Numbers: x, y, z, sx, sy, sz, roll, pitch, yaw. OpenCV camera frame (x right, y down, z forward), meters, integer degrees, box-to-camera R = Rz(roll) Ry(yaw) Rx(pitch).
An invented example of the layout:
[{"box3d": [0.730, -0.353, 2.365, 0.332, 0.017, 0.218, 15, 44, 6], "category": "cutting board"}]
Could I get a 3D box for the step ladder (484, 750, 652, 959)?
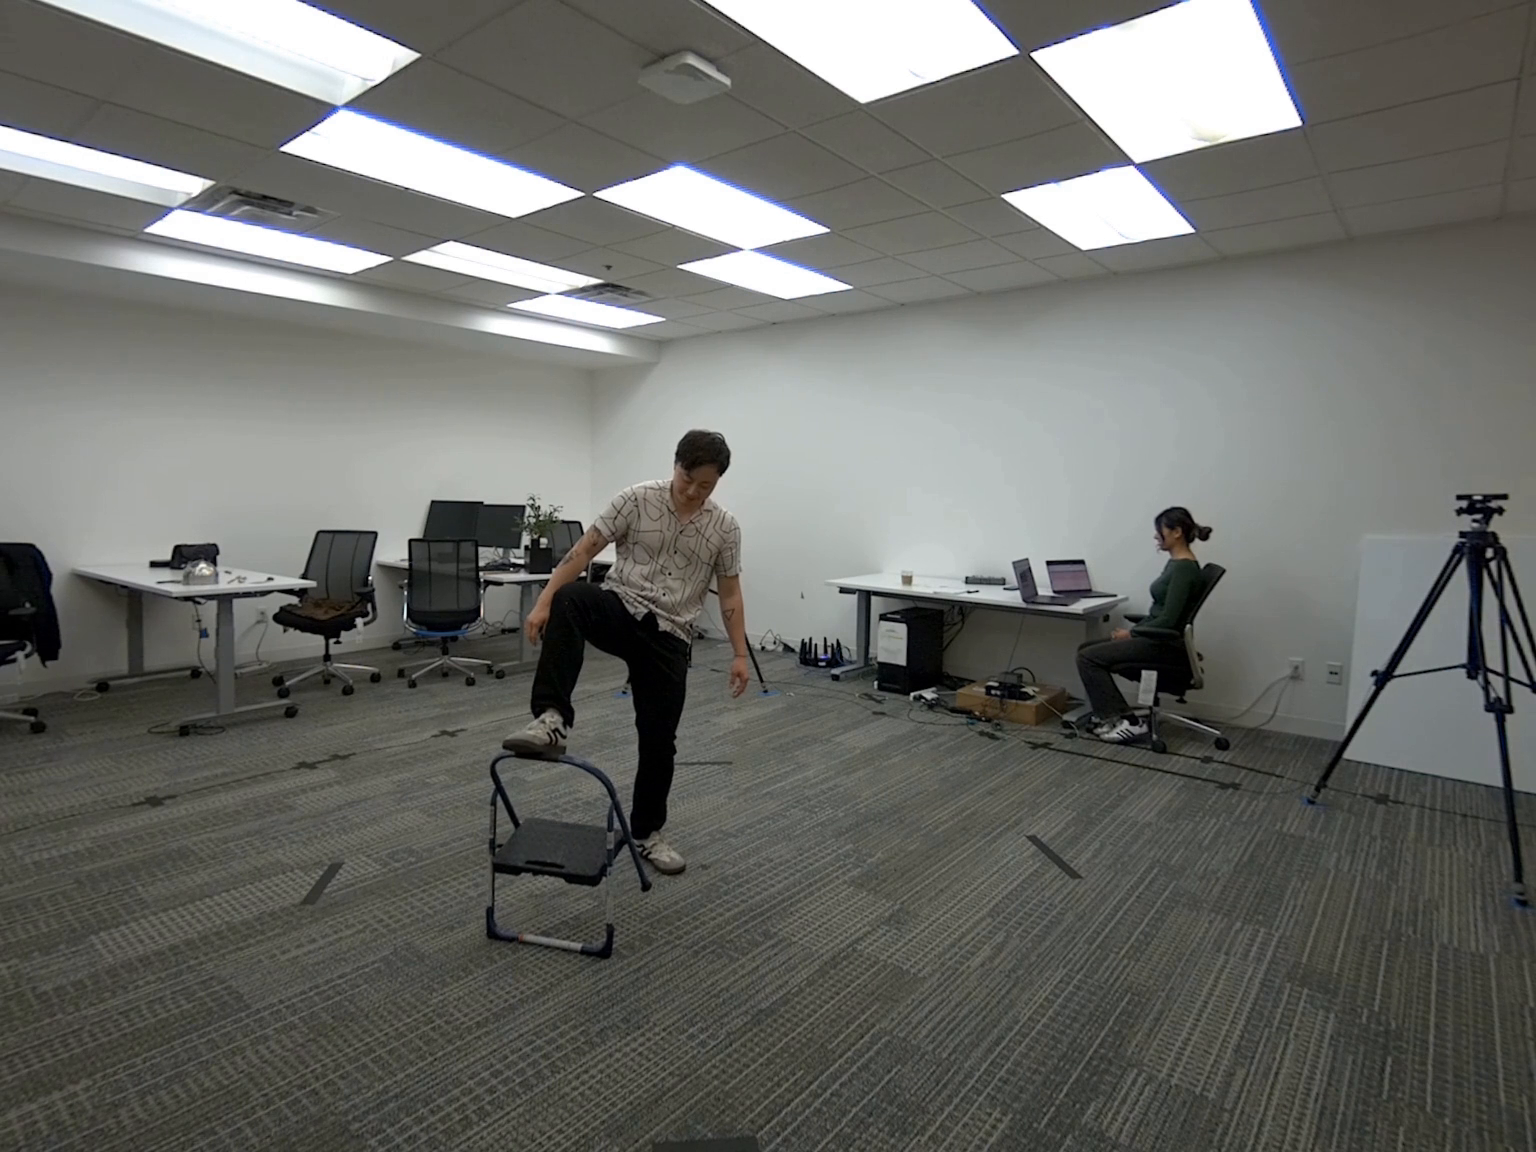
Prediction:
[{"box3d": [-0.652, 0.784, 2.635, 0.437, 0.597, 0.349, 2, 16, 14], "category": "step ladder"}]
